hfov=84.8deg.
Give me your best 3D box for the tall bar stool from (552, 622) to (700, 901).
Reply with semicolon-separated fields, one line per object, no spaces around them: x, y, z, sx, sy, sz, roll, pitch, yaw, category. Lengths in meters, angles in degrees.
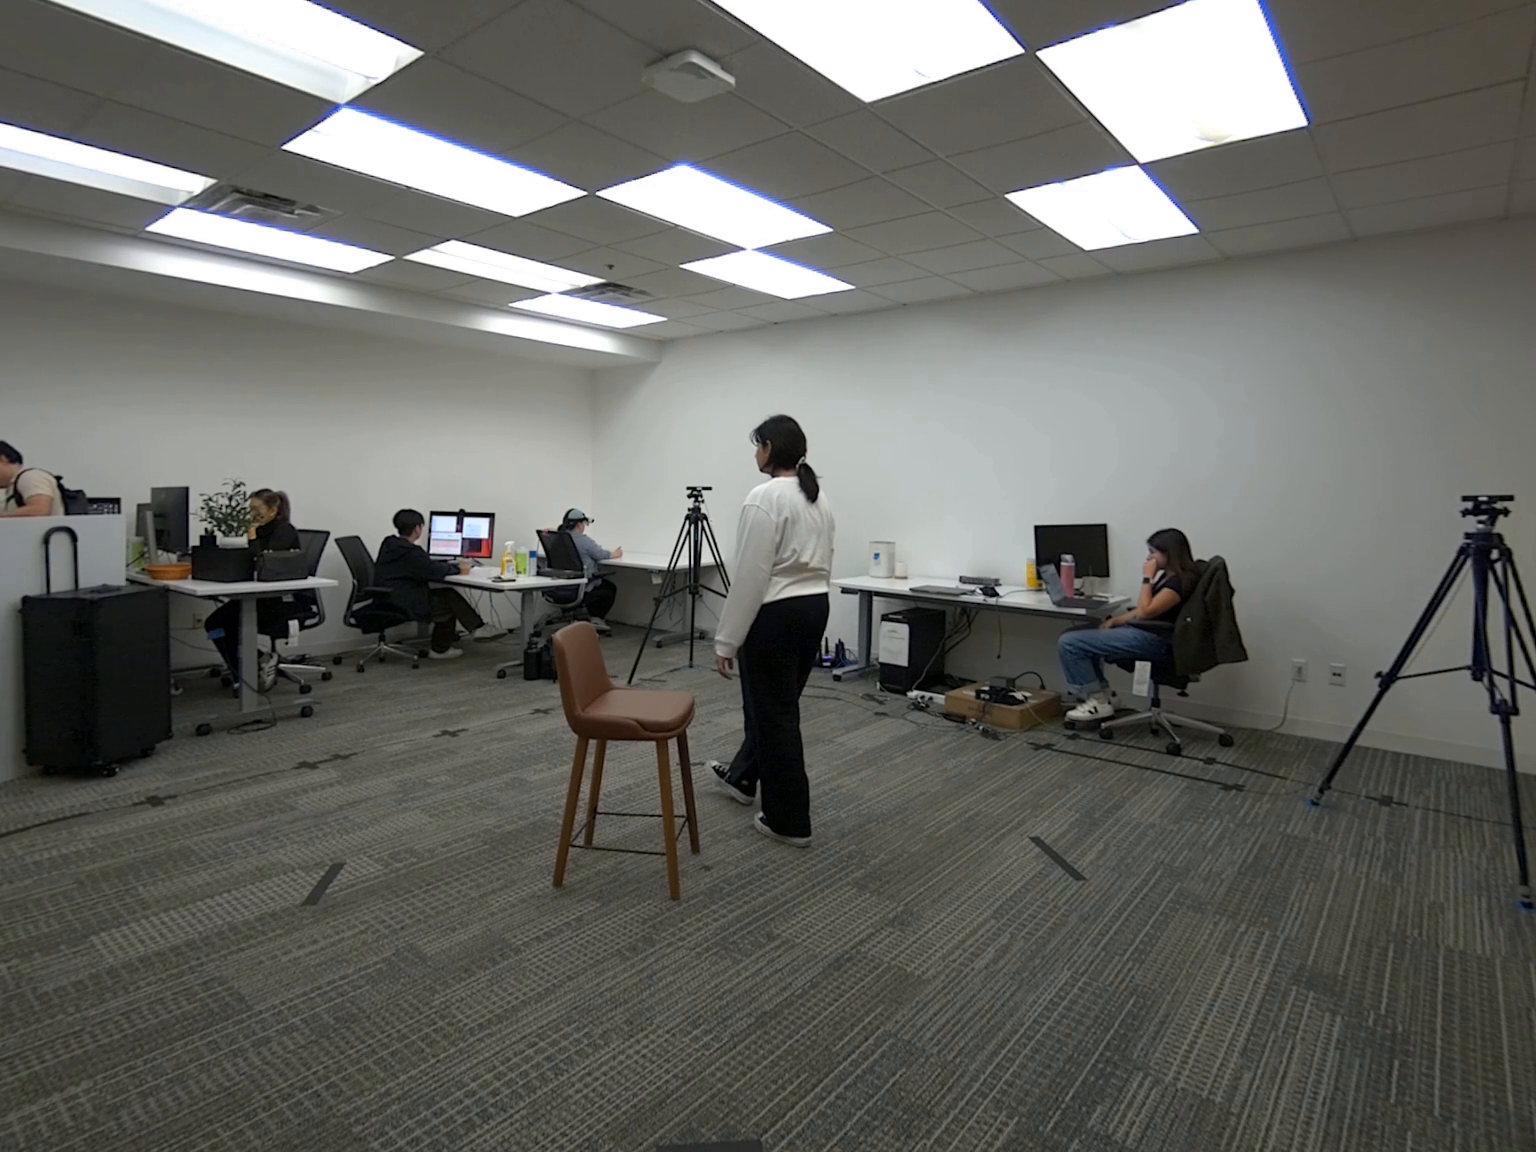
-0.506;0.631;3.066;0.472;0.888;0.453;-1;3;9;tall bar stool
